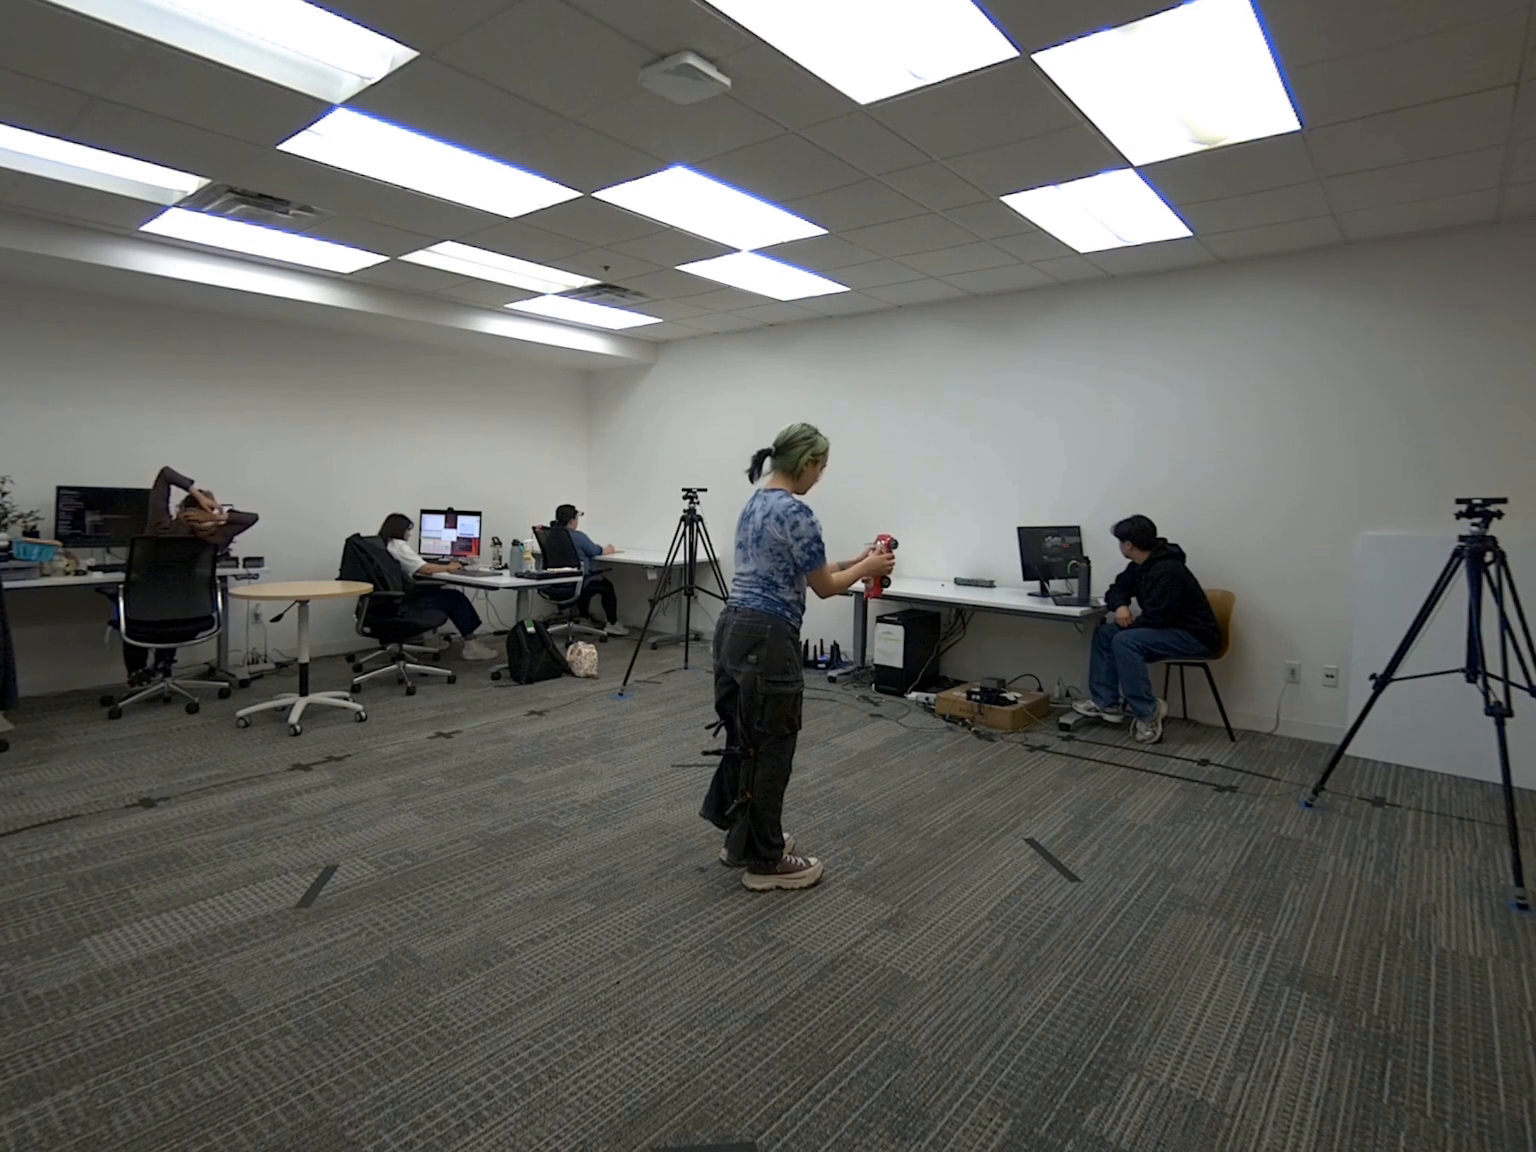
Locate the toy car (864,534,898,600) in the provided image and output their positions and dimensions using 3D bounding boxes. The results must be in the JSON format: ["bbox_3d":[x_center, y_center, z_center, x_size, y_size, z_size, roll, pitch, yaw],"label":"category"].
[{"bbox_3d":[0.418,-0.026,3.231,0.081,0.255,0.133,25,-7,-20],"label":"toy car"}]
